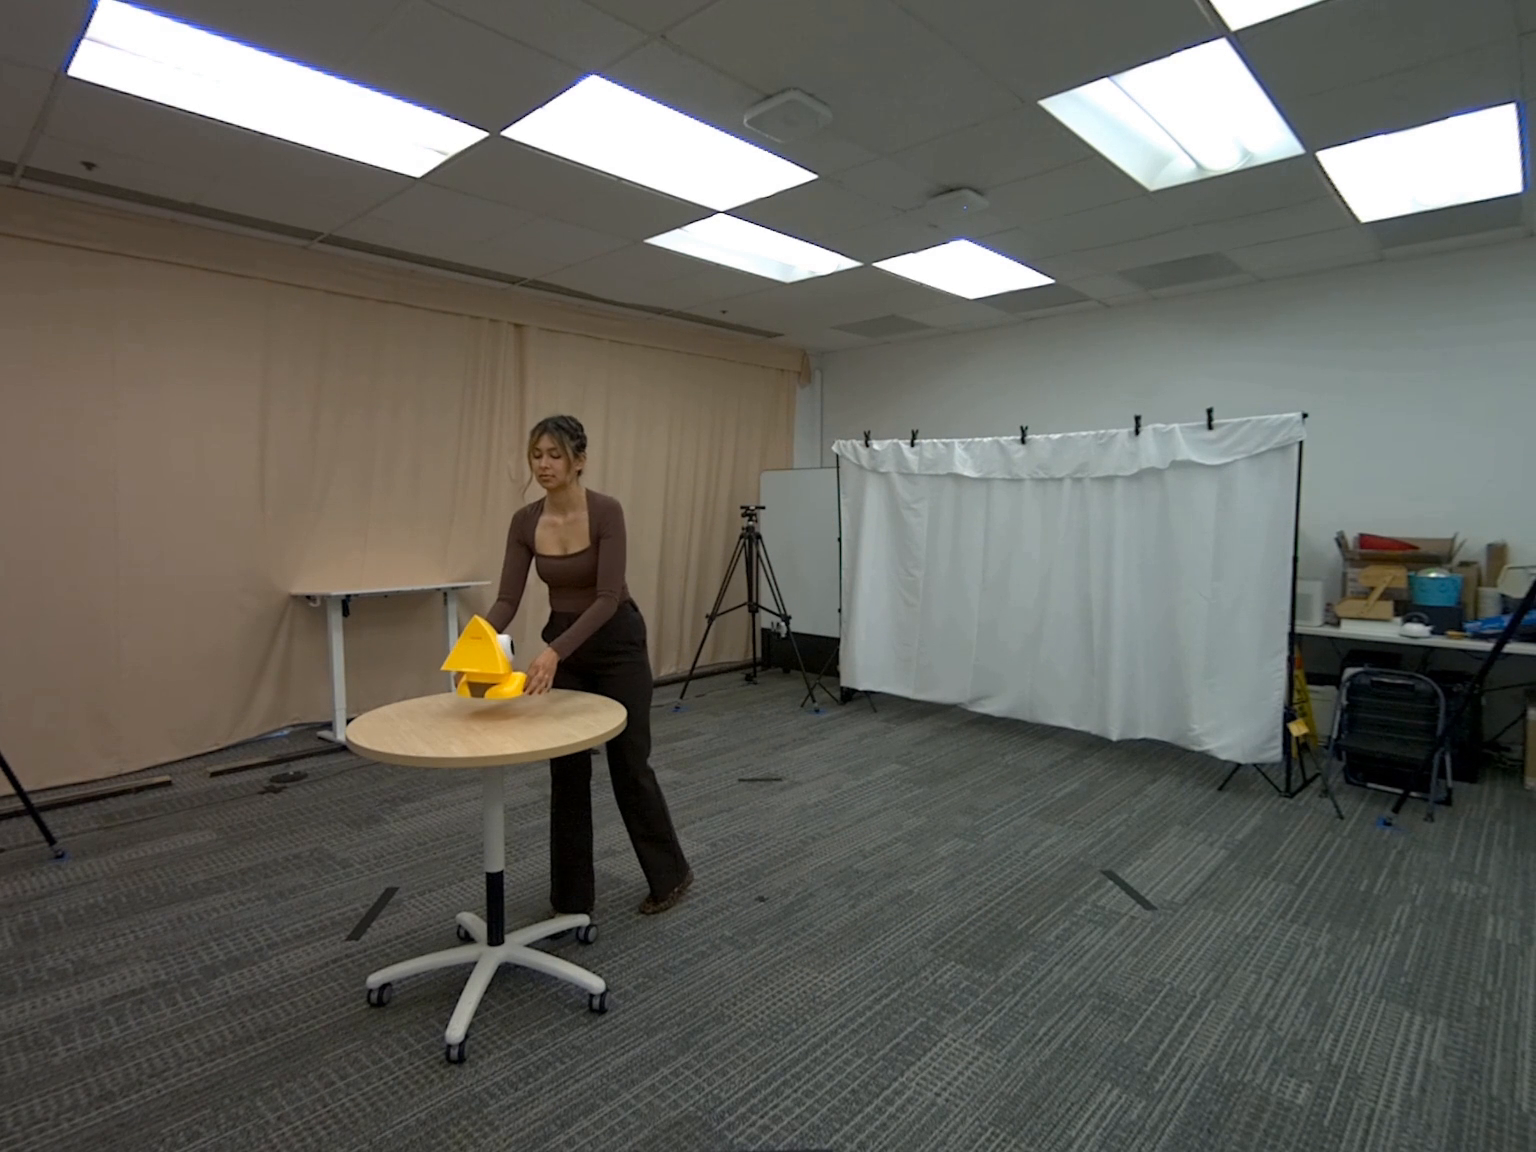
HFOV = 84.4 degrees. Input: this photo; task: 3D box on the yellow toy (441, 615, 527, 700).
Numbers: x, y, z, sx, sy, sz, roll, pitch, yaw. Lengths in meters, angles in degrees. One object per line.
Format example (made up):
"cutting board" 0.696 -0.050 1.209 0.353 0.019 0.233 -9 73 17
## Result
"yellow toy" -0.779 0.212 2.383 0.209 0.230 0.190 1 6 18
